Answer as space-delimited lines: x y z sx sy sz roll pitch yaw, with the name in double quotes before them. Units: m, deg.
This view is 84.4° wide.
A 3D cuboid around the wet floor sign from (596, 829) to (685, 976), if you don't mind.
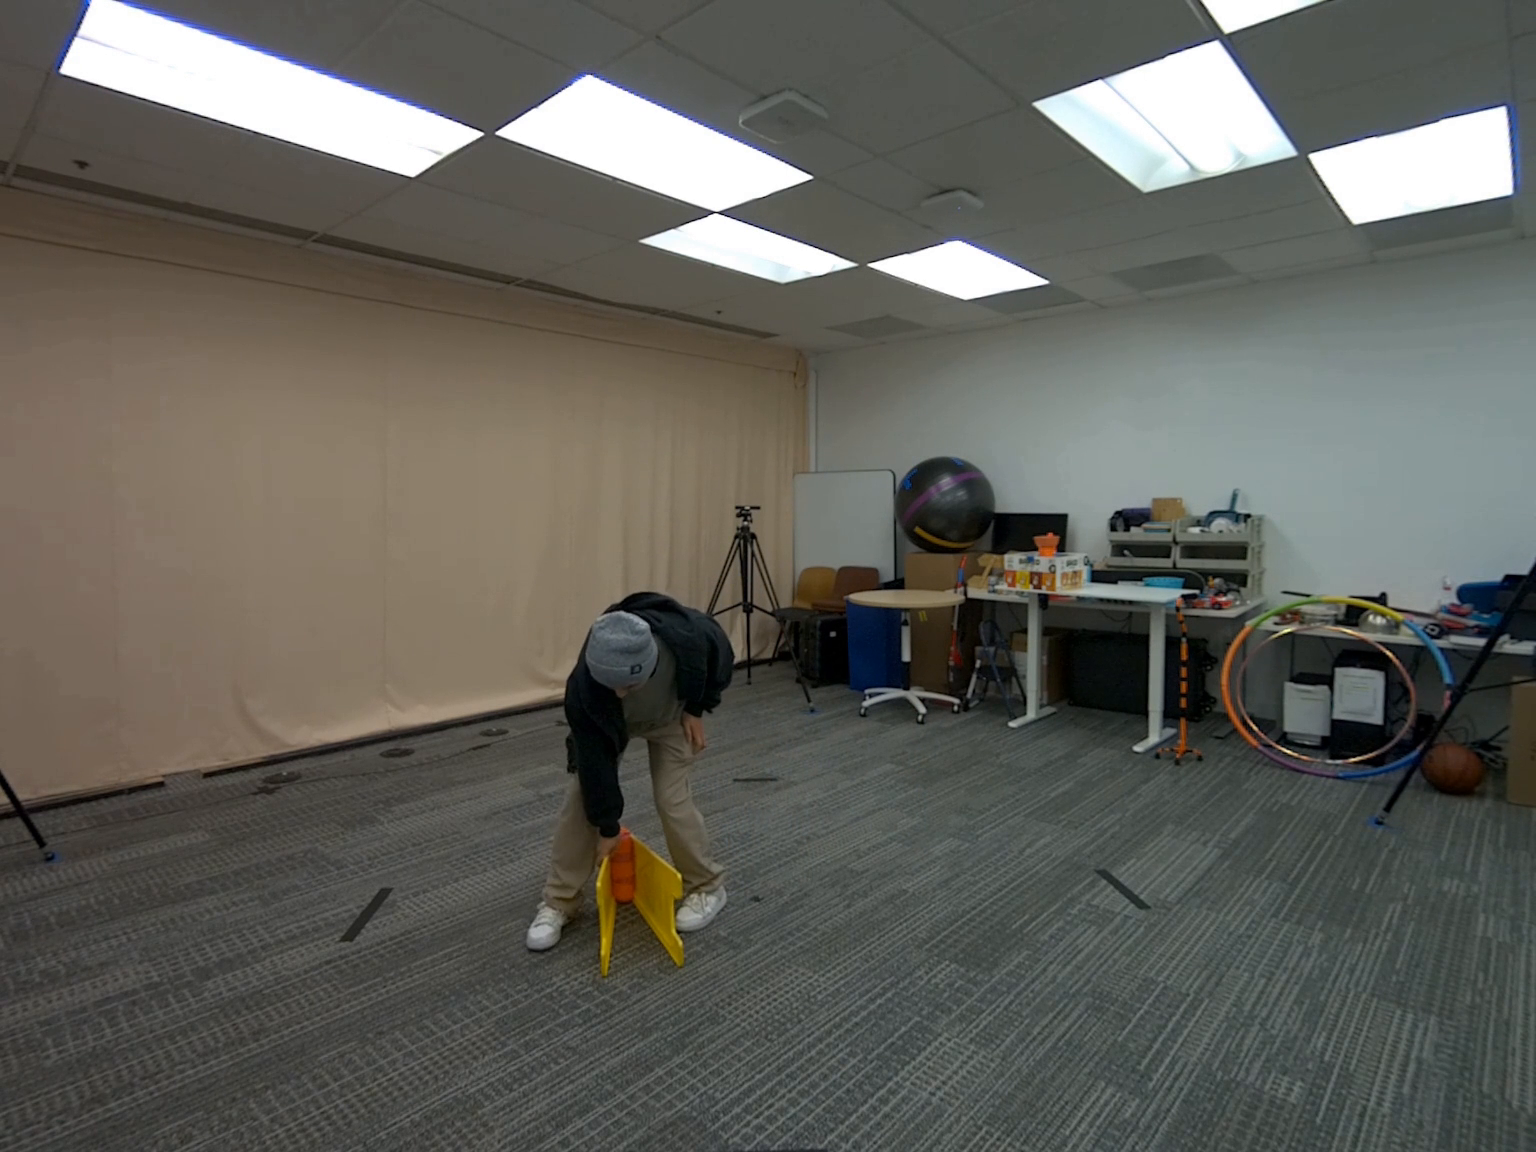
"wet floor sign" -0.475 1.035 2.821 0.285 0.282 0.656 -1 2 -15
